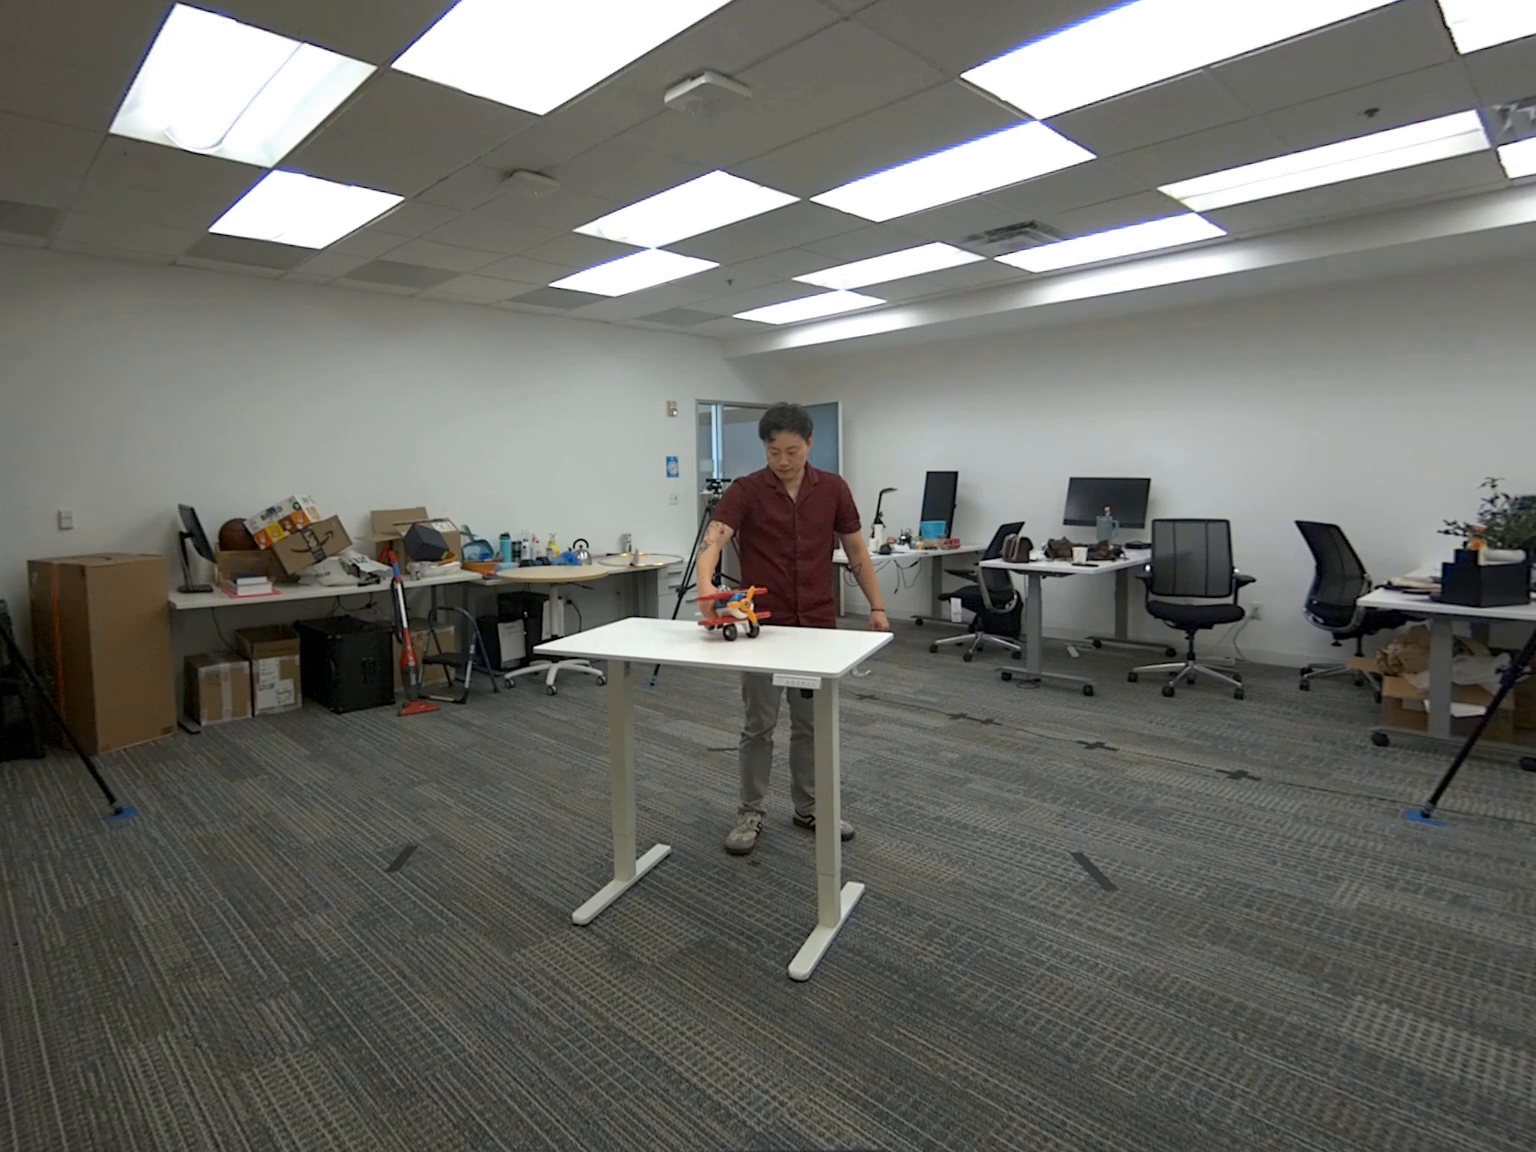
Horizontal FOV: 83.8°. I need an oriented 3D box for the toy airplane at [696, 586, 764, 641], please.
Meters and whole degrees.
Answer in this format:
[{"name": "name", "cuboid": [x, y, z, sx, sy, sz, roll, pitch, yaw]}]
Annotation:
[{"name": "toy airplane", "cuboid": [-0.141, 0.119, 2.808, 0.266, 0.155, 0.246, 4, 10, 30]}]
